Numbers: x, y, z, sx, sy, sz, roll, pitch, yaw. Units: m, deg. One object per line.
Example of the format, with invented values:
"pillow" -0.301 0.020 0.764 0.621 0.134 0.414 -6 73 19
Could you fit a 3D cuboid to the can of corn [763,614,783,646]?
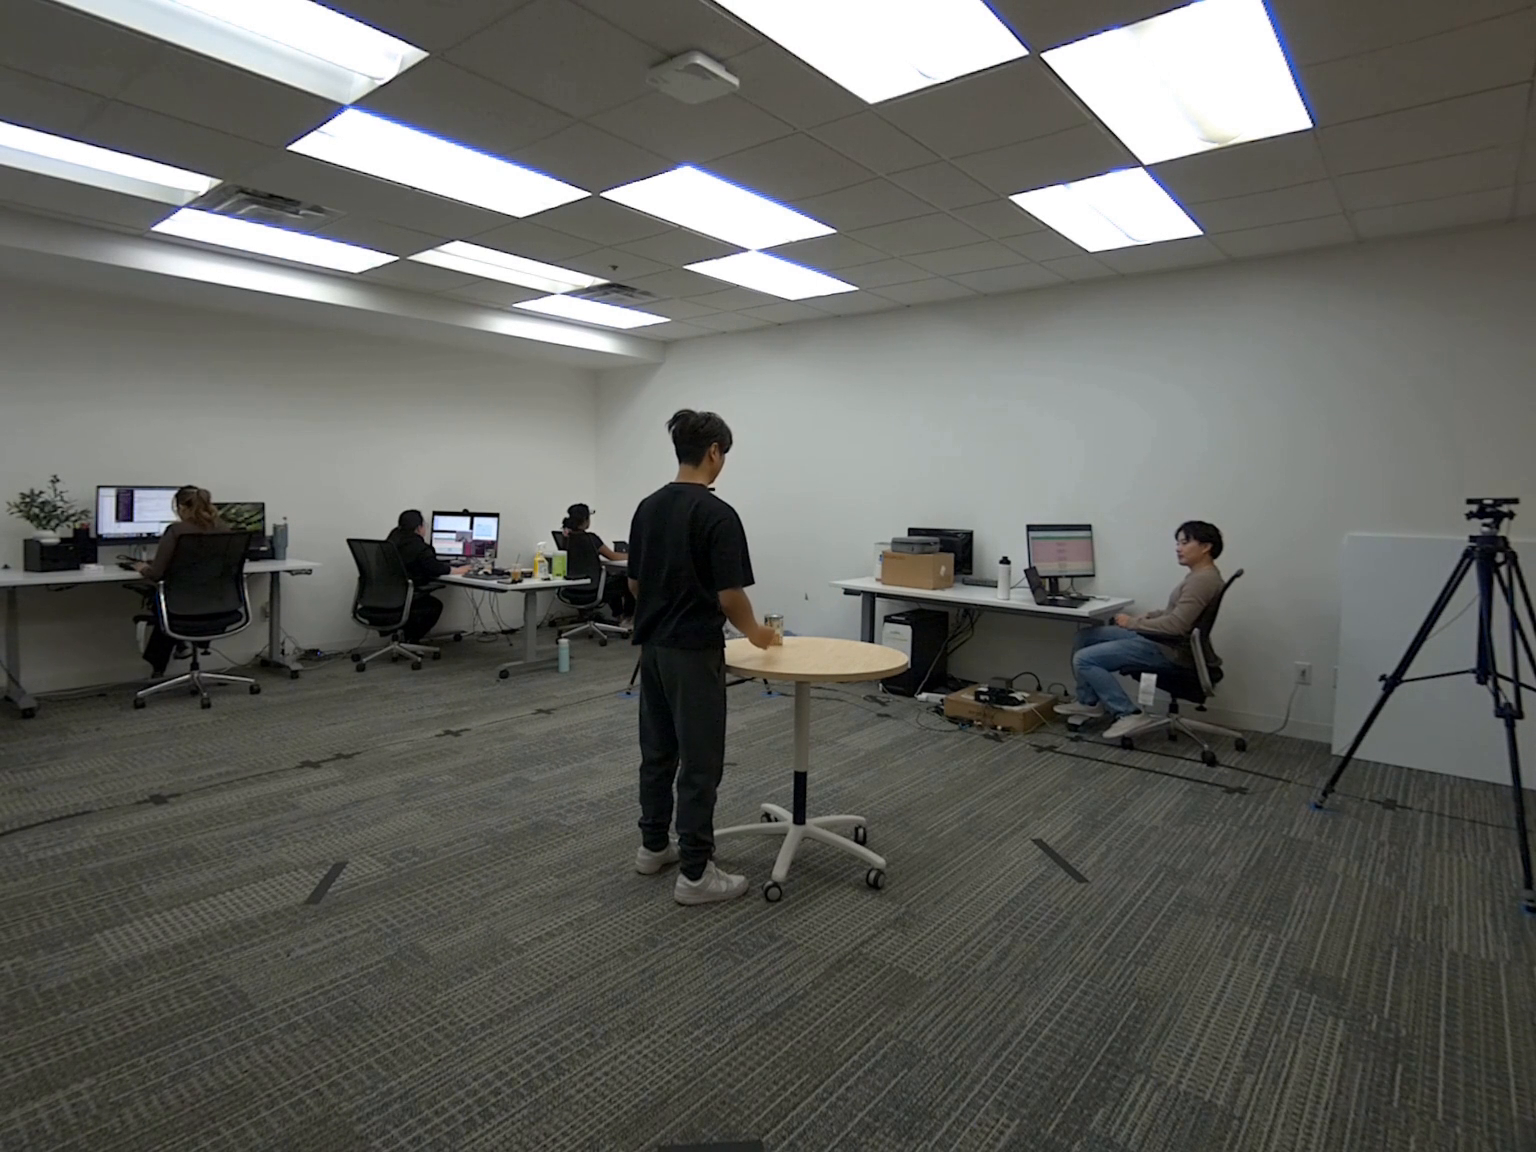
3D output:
"can of corn" 0.013 0.211 3.336 0.074 0.111 0.074 2 4 -2
